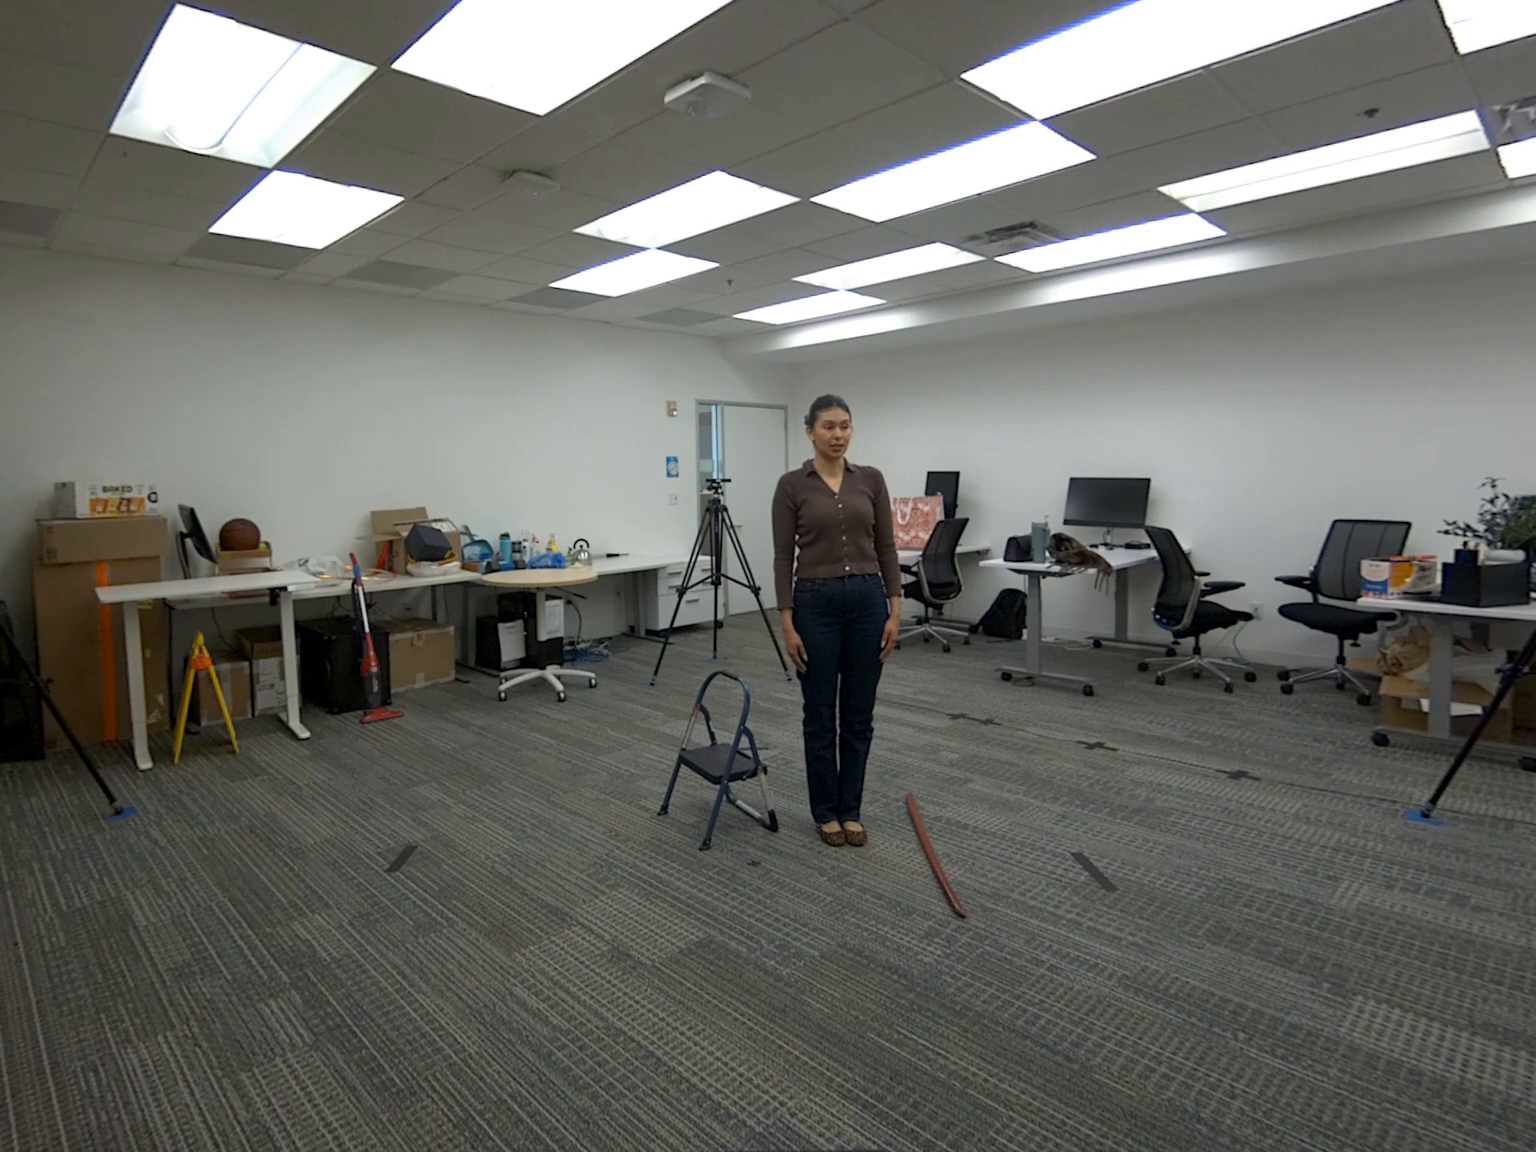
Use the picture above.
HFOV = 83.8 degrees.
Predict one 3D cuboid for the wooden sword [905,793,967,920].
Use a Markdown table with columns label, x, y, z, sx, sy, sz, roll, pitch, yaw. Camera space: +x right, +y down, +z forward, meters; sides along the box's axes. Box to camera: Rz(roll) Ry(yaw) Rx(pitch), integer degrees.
| label | x | y | z | sx | sy | sz | roll | pitch | yaw |
| --- | --- | --- | --- | --- | --- | --- | --- | --- | --- |
| wooden sword | 0.588 | 0.996 | 3.196 | 0.024 | 0.051 | 1.026 | 43 | 4 | -3 |
